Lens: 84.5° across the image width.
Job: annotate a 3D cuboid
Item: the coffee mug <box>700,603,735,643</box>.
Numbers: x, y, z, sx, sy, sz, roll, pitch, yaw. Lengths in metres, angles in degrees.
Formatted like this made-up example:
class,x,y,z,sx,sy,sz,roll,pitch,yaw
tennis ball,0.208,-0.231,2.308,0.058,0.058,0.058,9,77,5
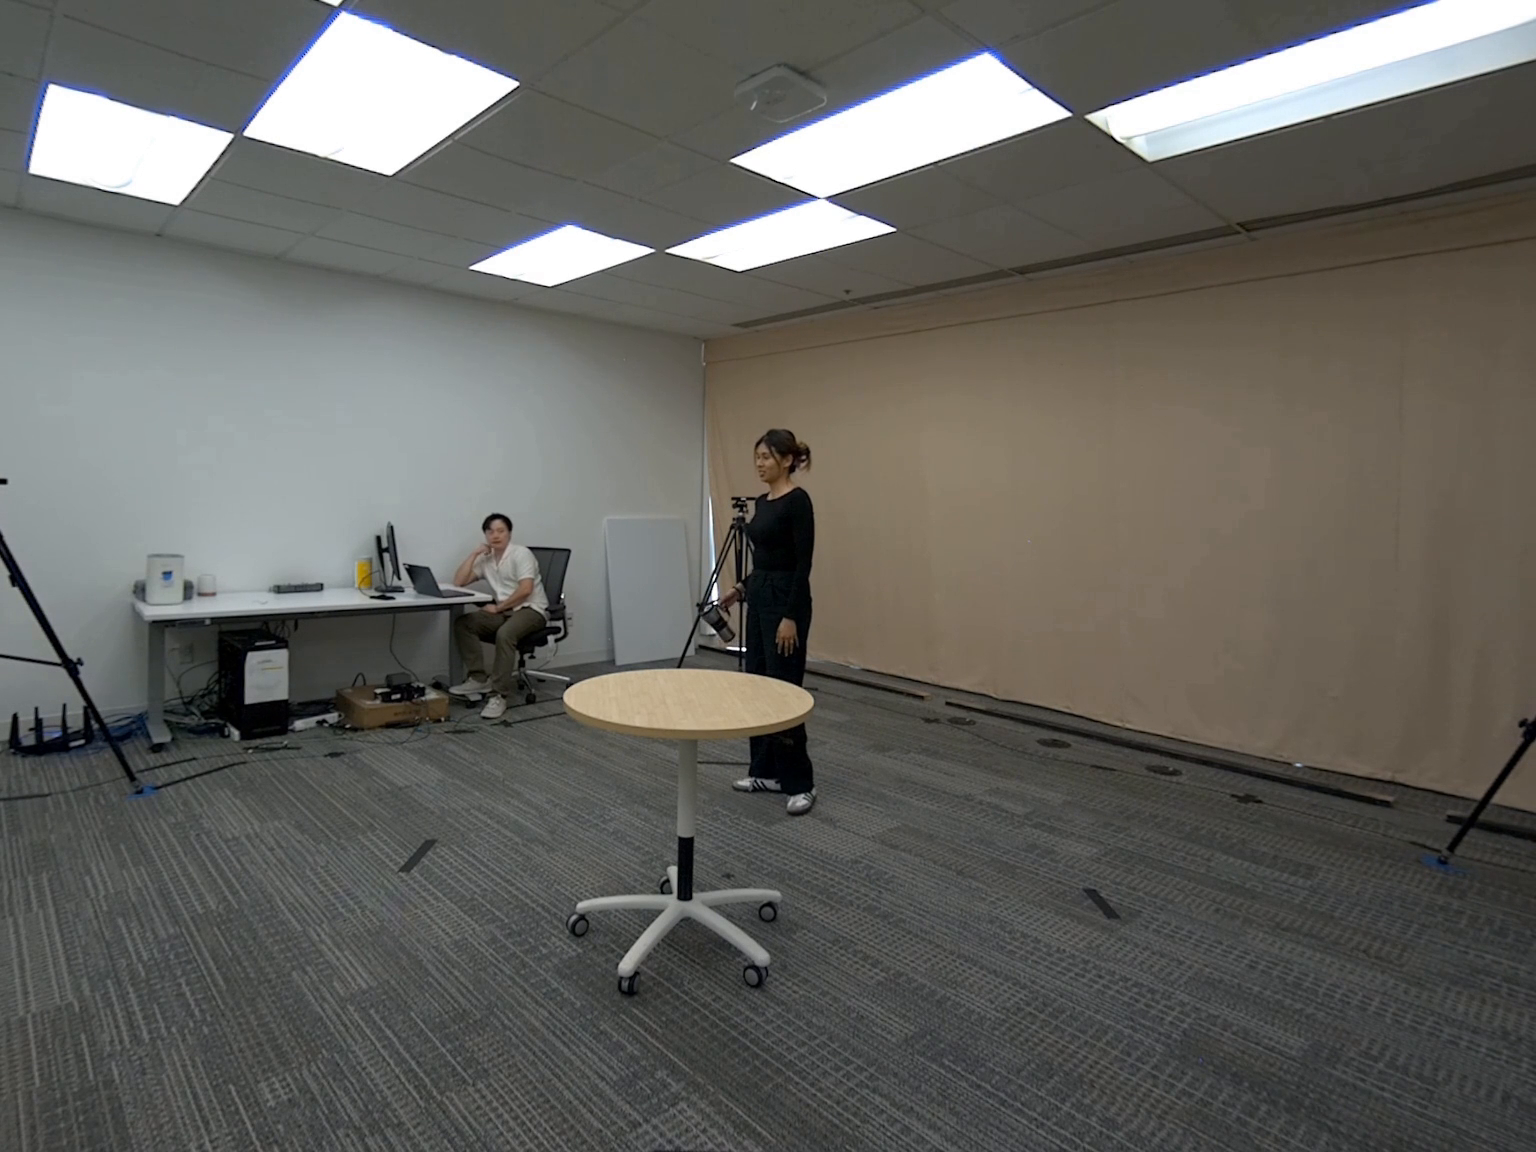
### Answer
class,x,y,z,sx,sy,sz,roll,pitch,yaw
coffee mug,-0.227,0.213,4.096,0.122,0.200,0.089,-42,12,-8
